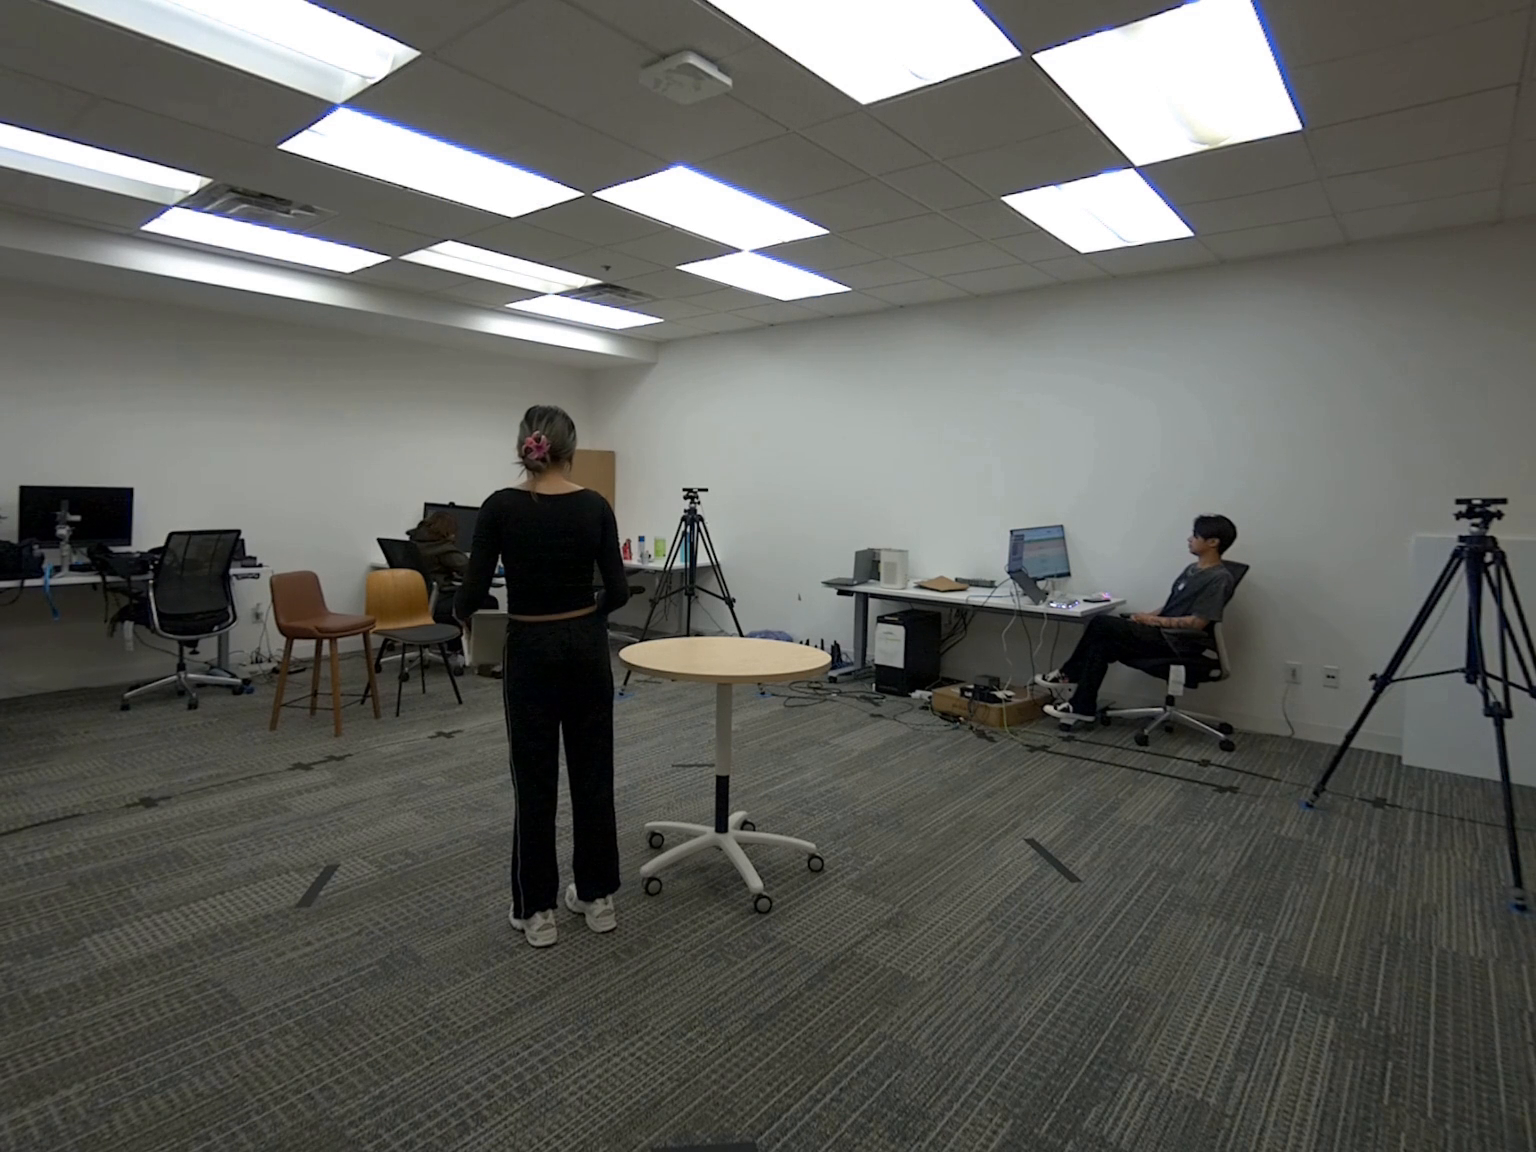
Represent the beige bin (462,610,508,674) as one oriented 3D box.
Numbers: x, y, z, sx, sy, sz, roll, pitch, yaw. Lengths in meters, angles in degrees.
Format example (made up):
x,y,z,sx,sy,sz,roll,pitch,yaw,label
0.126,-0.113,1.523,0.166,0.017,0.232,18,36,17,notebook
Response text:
x,y,z,sx,sy,sz,roll,pitch,yaw,label
-0.840,0.164,2.921,0.413,0.187,0.389,1,13,-22,beige bin
